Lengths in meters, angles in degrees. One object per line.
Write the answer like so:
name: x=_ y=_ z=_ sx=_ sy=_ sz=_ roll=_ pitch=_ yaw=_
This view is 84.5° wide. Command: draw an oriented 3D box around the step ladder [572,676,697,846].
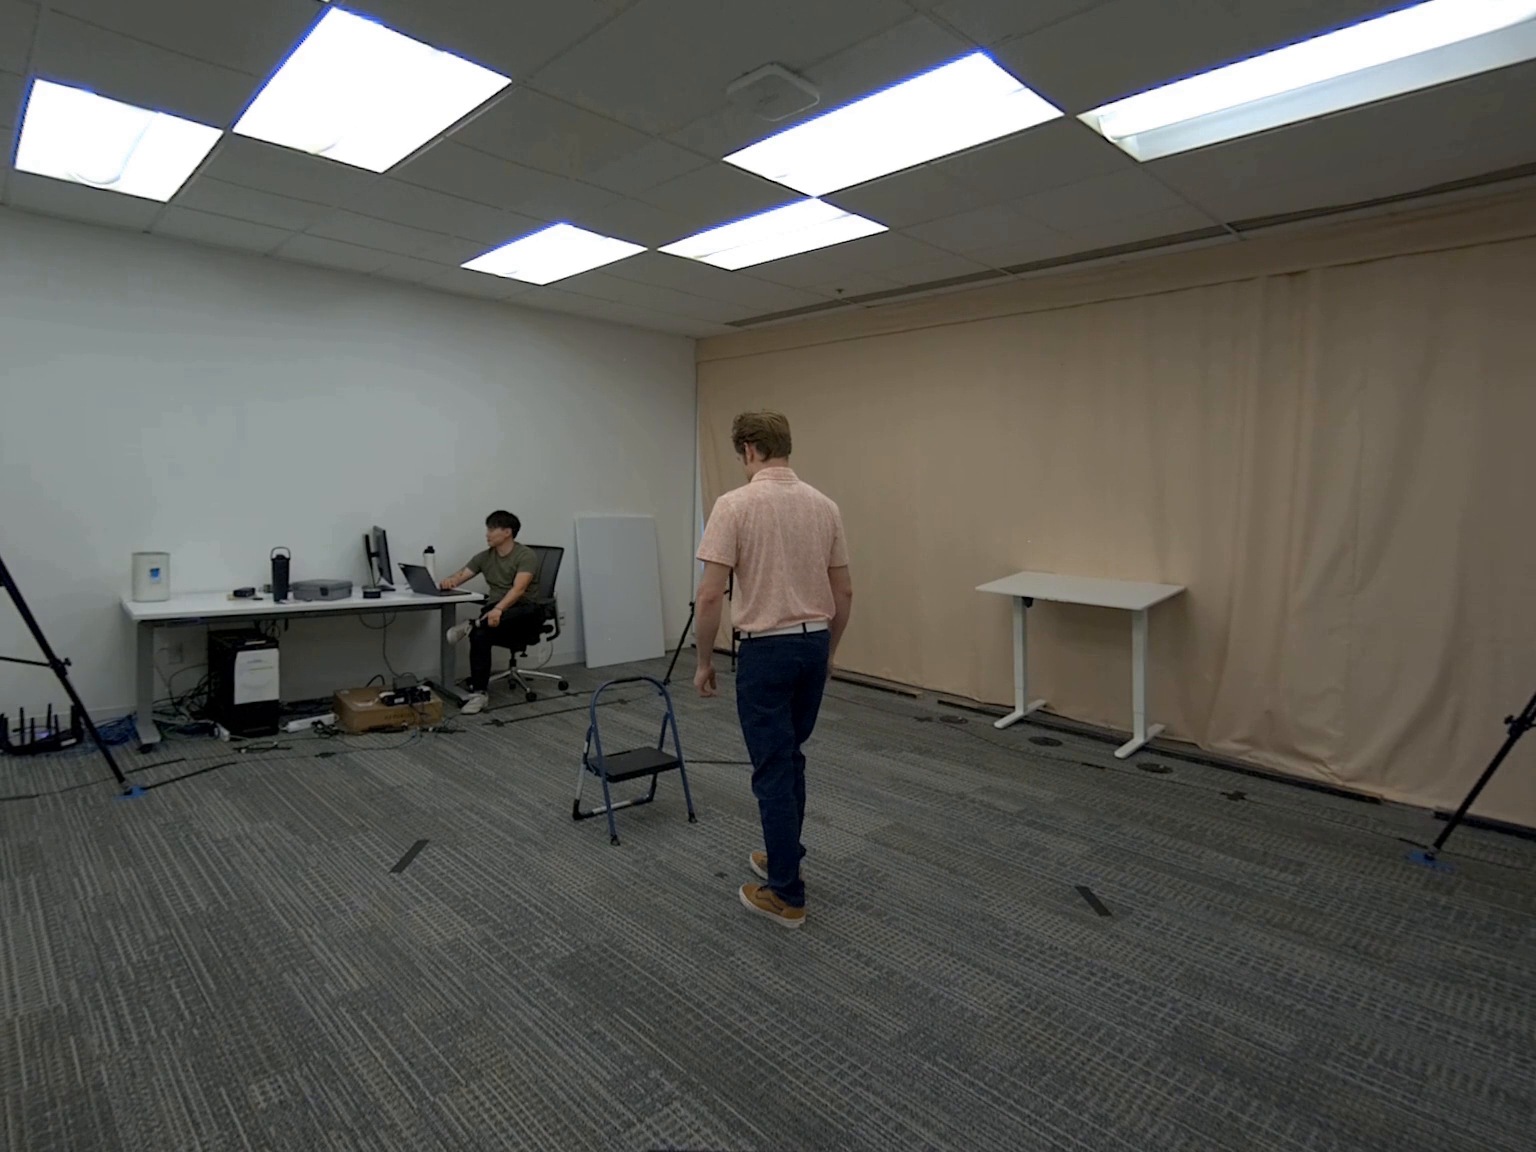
step ladder: x=-0.572 y=0.748 z=3.591 sx=0.420 sy=0.605 sz=0.358 roll=-1 pitch=4 yaw=-43
